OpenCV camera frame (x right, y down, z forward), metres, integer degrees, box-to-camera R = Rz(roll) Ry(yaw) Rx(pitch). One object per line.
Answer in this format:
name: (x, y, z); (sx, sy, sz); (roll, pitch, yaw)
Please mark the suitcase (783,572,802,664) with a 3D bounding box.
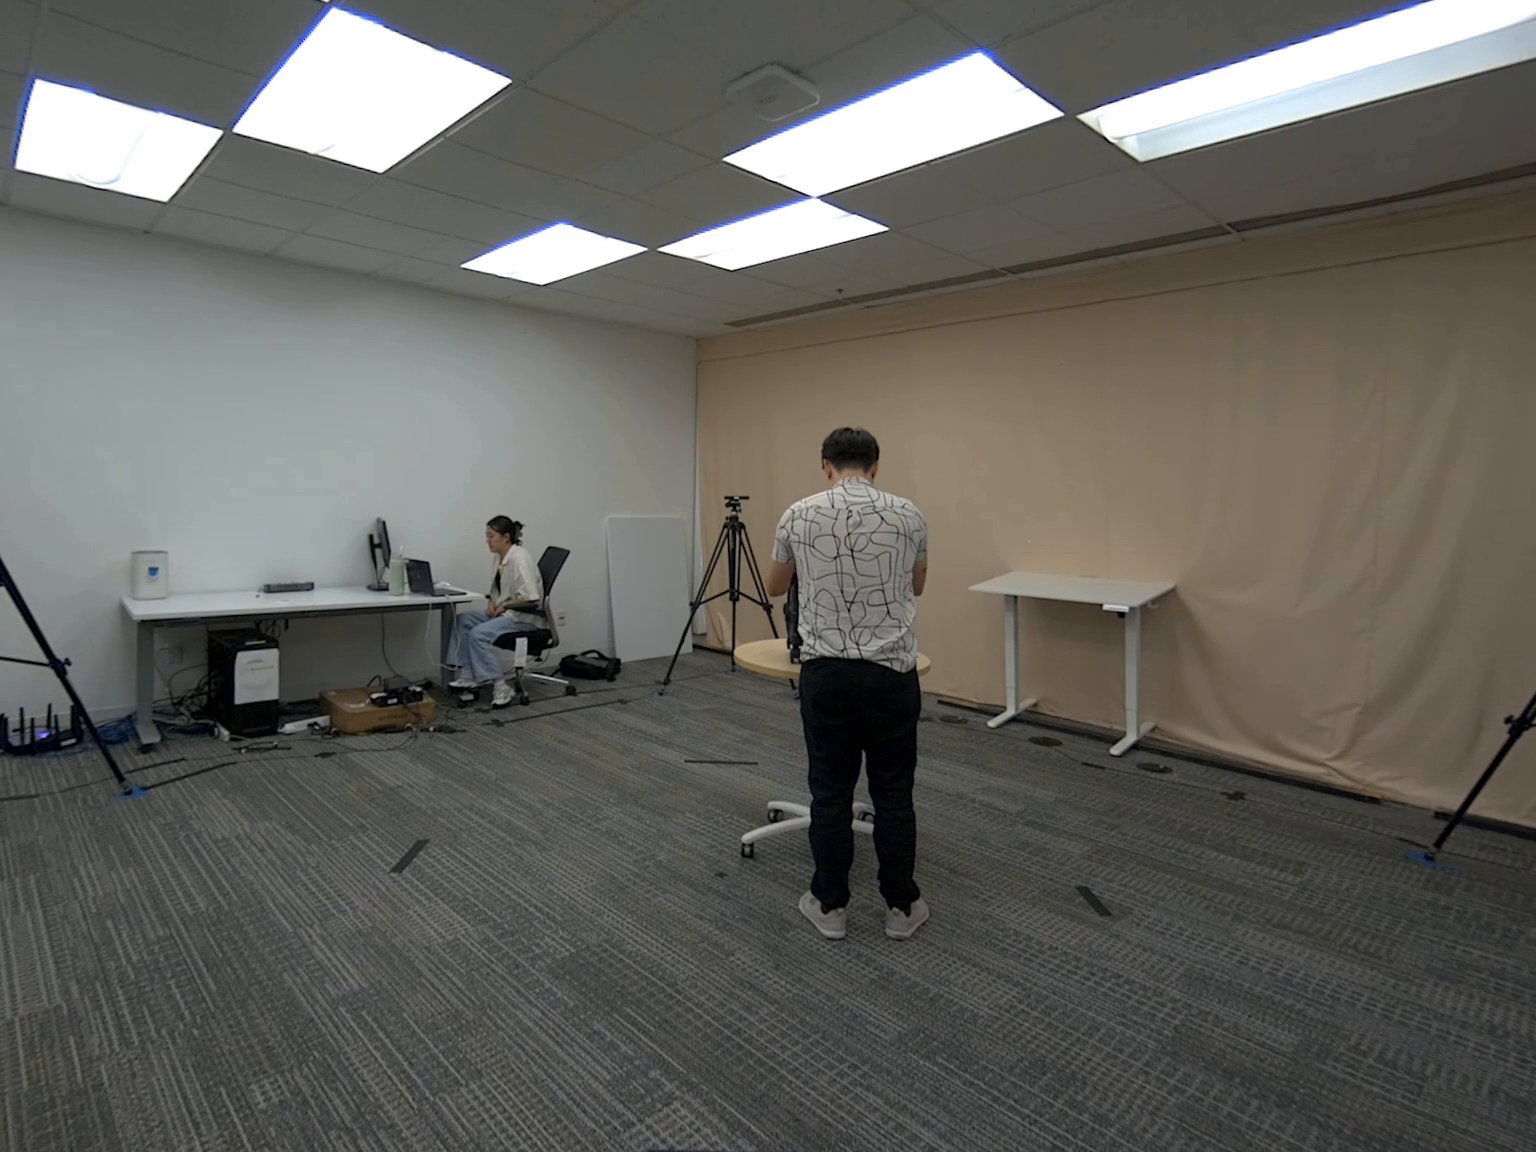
suitcase: (0.258, 0.035, 3.202); (0.376, 0.547, 0.249); (2, 6, 3)
